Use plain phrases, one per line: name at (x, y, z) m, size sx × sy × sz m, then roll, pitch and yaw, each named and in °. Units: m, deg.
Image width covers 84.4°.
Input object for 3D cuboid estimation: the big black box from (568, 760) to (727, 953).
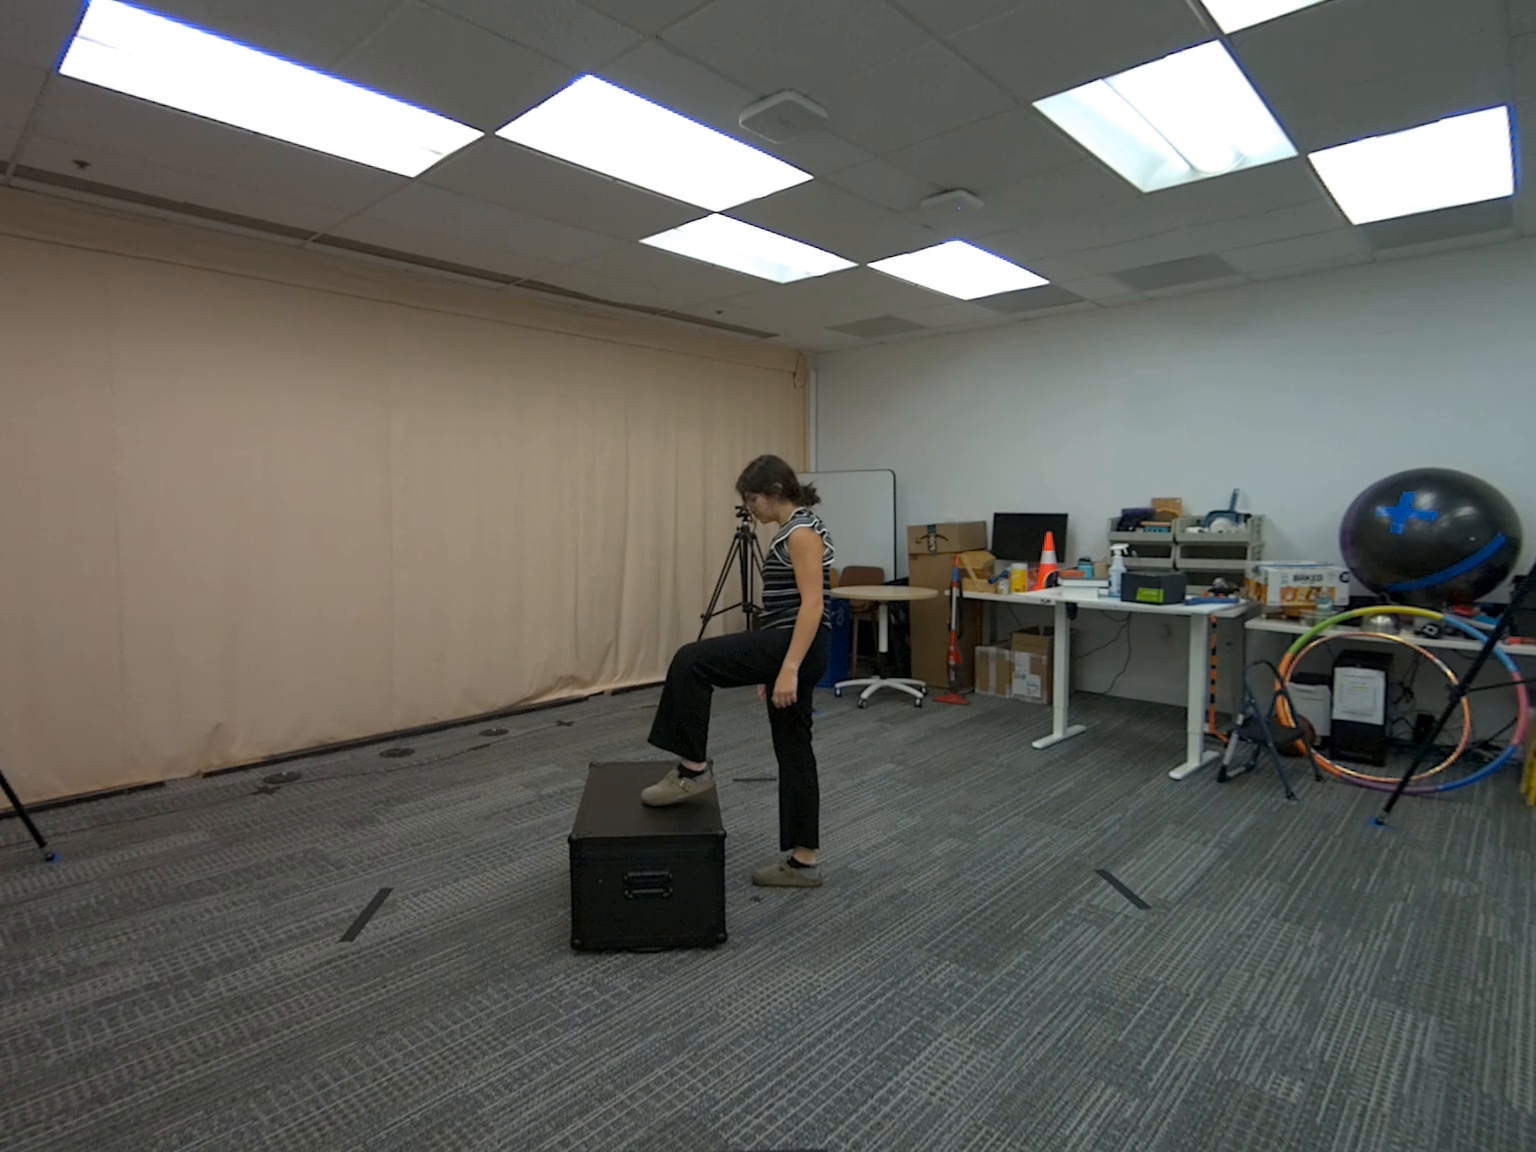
big black box at (-0.420, 0.950, 3.025) m, size 0.518 × 0.395 × 0.869 m, roll -1°, pitch 5°, yaw -7°
